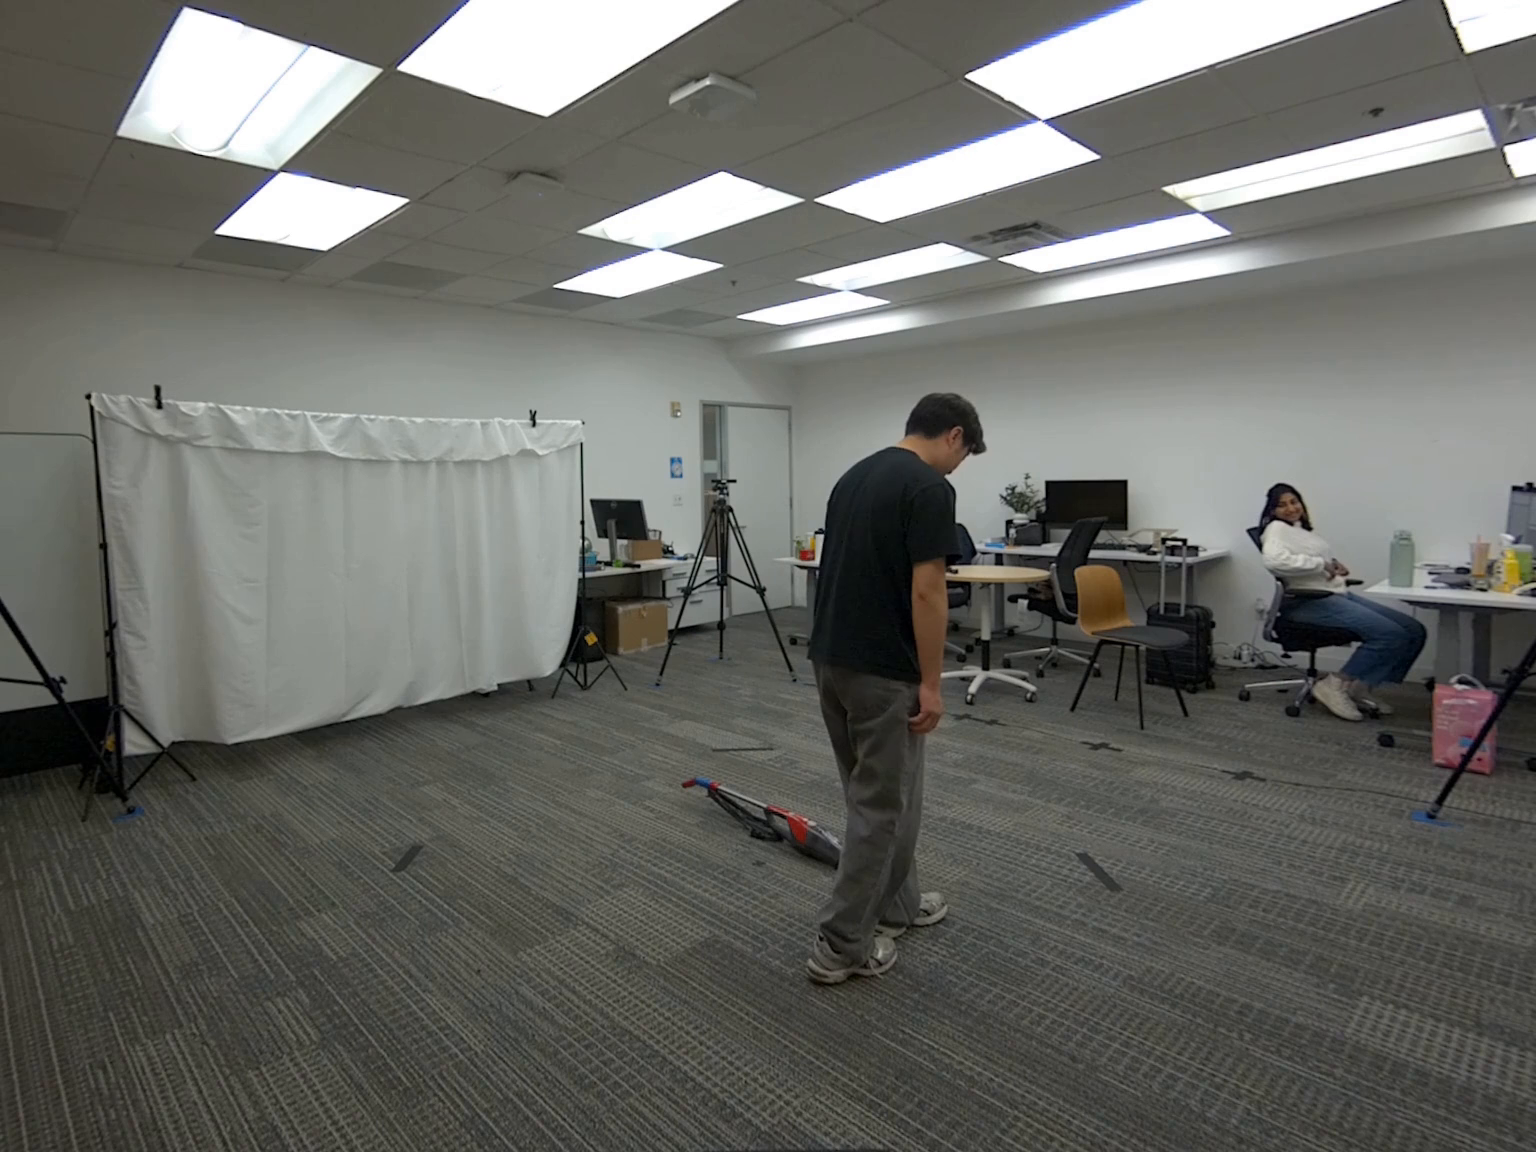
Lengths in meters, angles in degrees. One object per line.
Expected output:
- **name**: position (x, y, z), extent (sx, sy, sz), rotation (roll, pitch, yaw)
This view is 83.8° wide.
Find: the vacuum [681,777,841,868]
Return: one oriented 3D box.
- **vacuum**: position (0.006, 0.965, 3.354), extent (0.246, 0.143, 1.082), rotation (-6, 7, -42)
